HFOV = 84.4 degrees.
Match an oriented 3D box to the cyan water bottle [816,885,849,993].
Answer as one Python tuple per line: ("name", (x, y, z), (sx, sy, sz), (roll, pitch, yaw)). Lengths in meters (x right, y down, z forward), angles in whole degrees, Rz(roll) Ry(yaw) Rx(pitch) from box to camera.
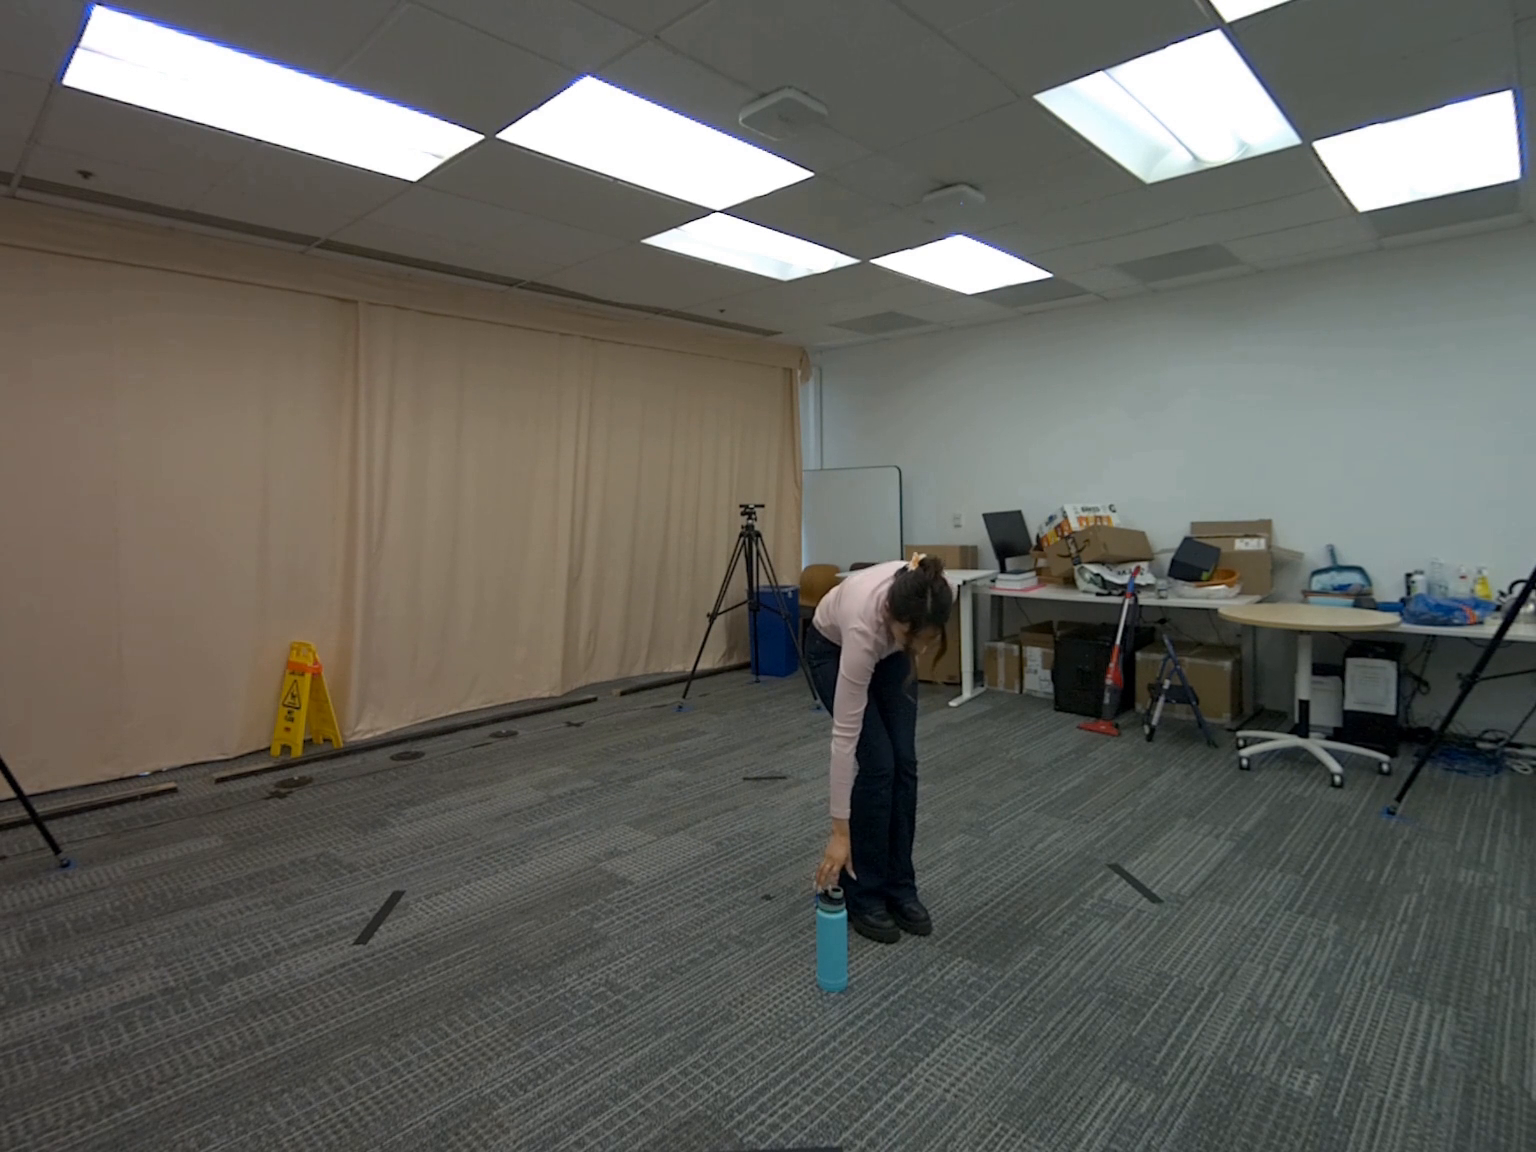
("cyan water bottle", (0.189, 1.046, 2.426), (0.092, 0.283, 0.092), (-1, 3, -2))
